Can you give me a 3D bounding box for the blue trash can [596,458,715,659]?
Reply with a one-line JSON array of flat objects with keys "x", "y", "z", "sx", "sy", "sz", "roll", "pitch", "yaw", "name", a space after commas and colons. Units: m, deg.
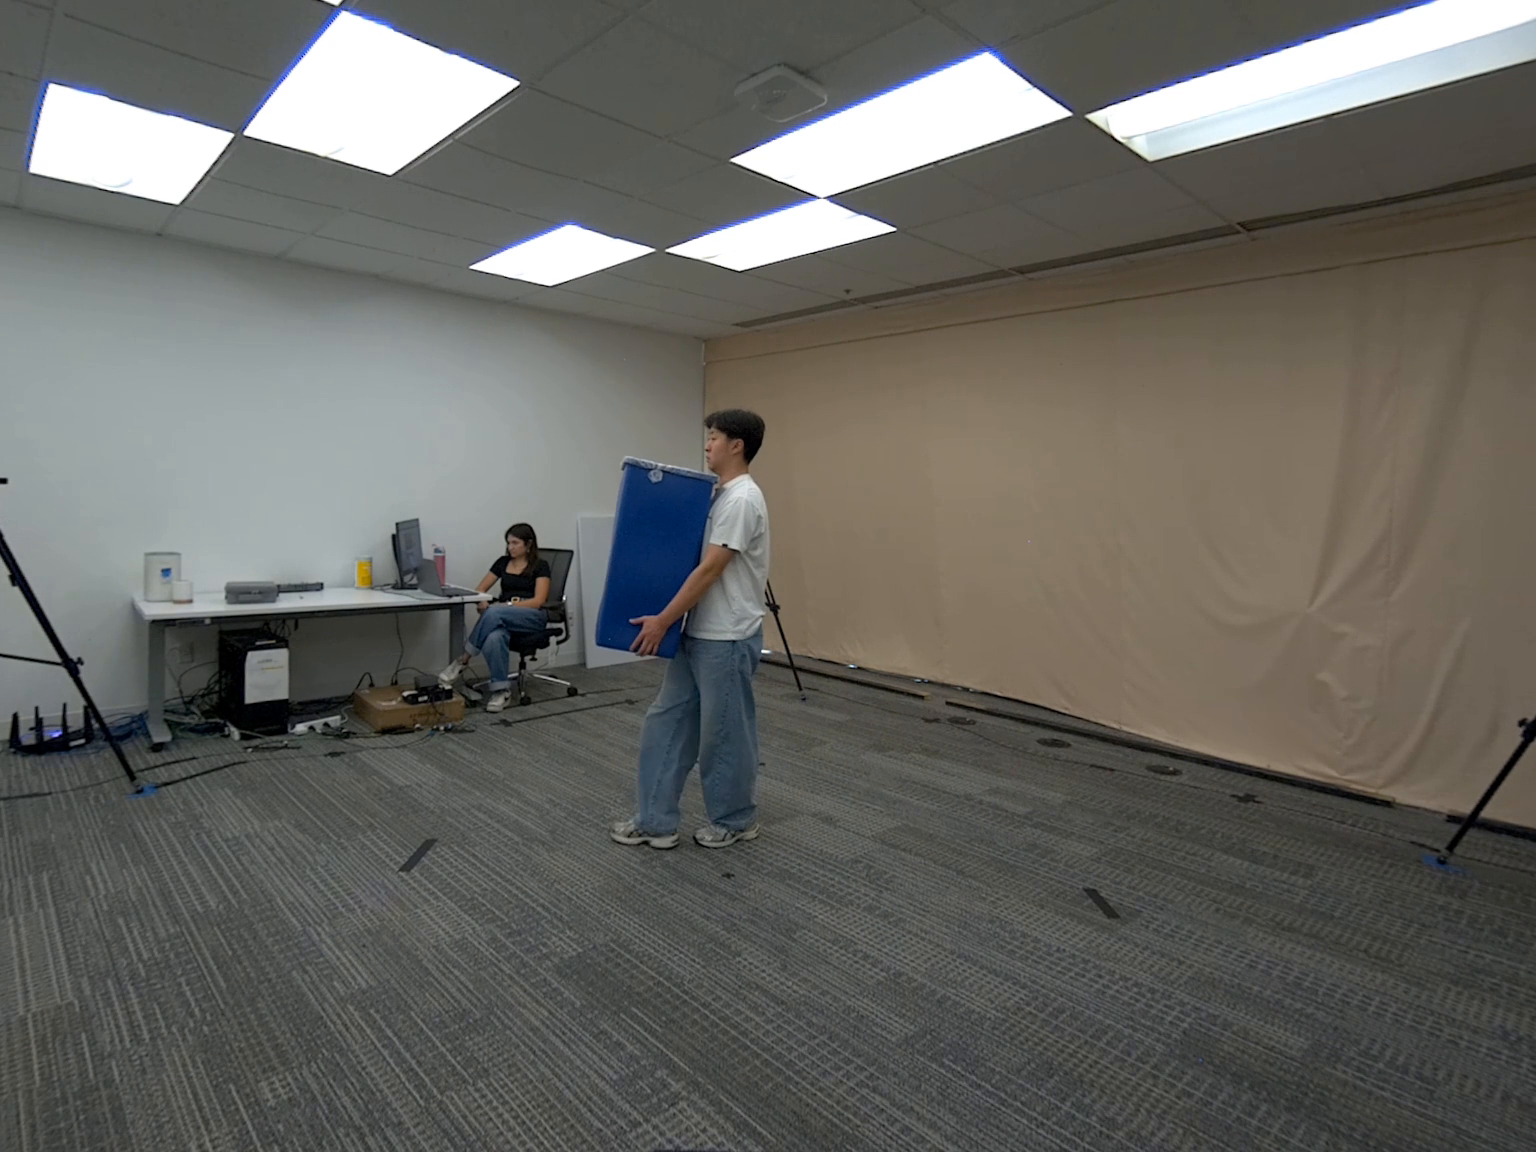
[{"x": -0.469, "y": -0.077, "z": 3.324, "sx": 0.375, "sy": 0.714, "sz": 0.377, "roll": 12, "pitch": 0, "yaw": -10, "name": "blue trash can"}]
